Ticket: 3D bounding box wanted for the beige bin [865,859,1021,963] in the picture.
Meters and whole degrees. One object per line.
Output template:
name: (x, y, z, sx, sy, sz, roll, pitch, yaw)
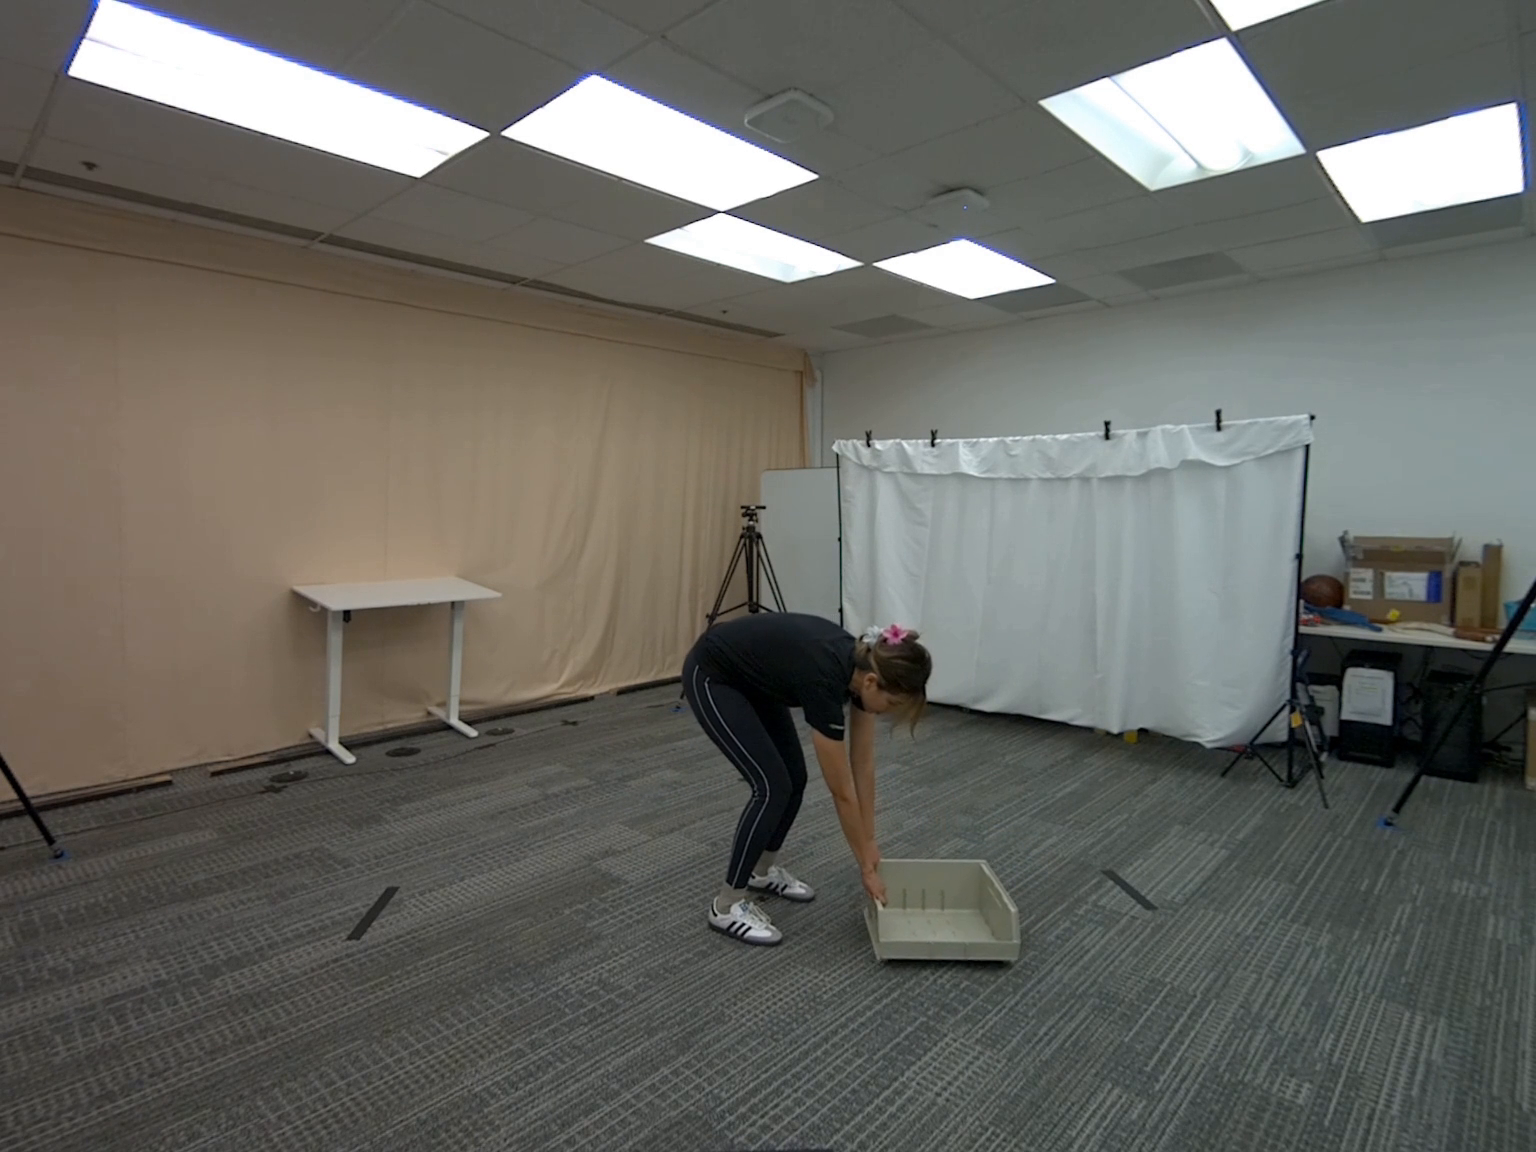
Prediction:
beige bin: (0.544, 1.075, 2.697, 0.423, 0.188, 0.378, -1, 4, 1)
